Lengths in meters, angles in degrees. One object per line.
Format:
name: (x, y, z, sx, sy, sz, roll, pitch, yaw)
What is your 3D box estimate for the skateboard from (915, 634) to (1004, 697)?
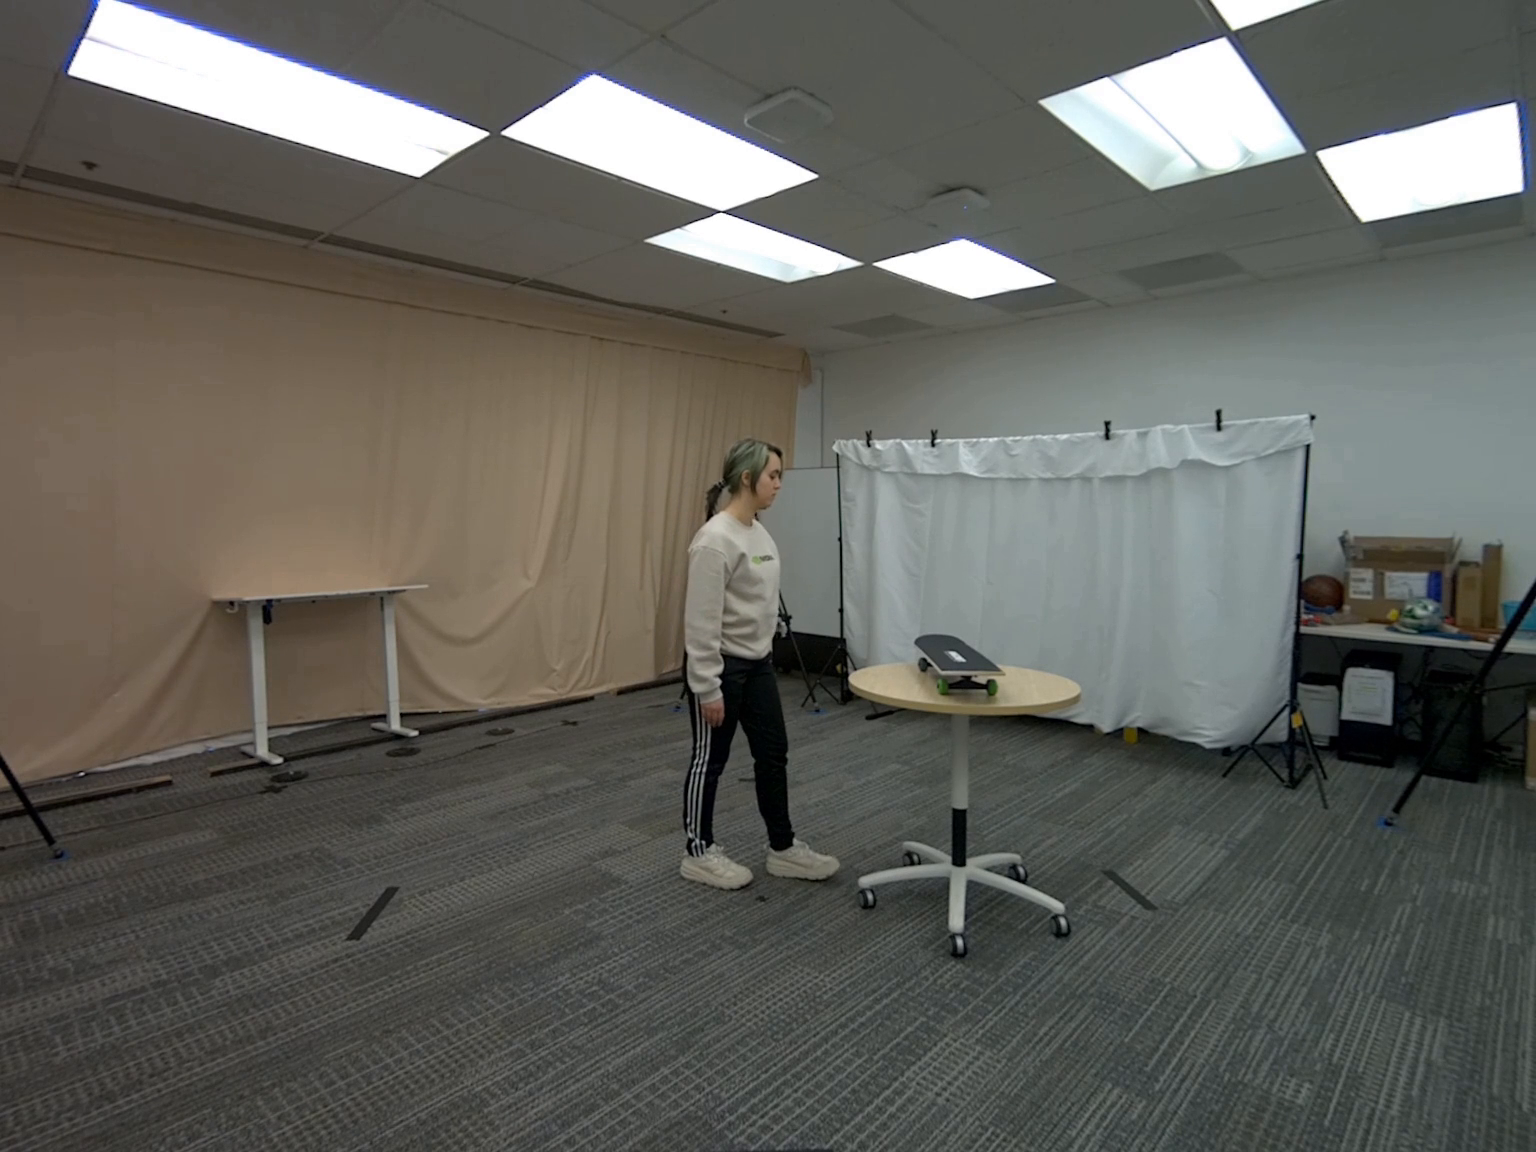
skateboard: (0.652, 0.319, 2.890, 0.194, 0.110, 0.785, -1, 4, 1)
